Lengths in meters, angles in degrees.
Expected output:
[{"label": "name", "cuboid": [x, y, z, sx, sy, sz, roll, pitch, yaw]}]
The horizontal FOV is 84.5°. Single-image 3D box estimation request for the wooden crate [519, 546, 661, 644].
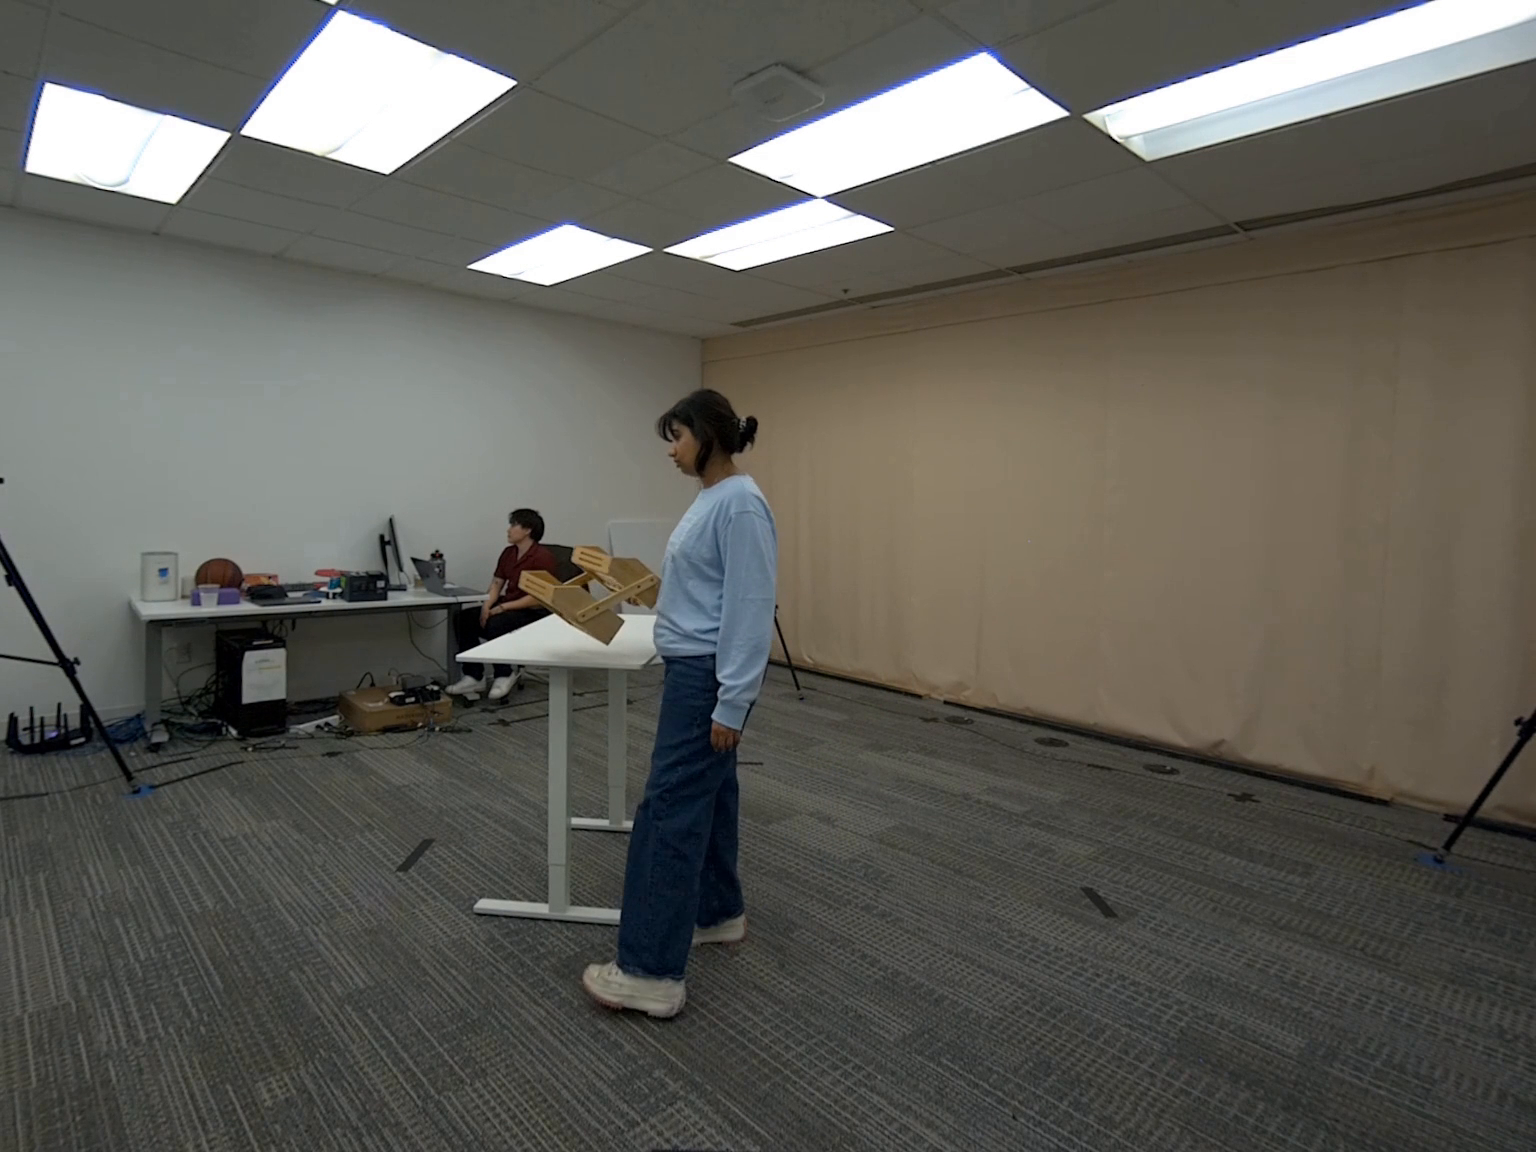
[{"label": "wooden crate", "cuboid": [-0.555, 0.025, 2.627, 0.294, 0.274, 0.333, 43, -15, -30]}]
